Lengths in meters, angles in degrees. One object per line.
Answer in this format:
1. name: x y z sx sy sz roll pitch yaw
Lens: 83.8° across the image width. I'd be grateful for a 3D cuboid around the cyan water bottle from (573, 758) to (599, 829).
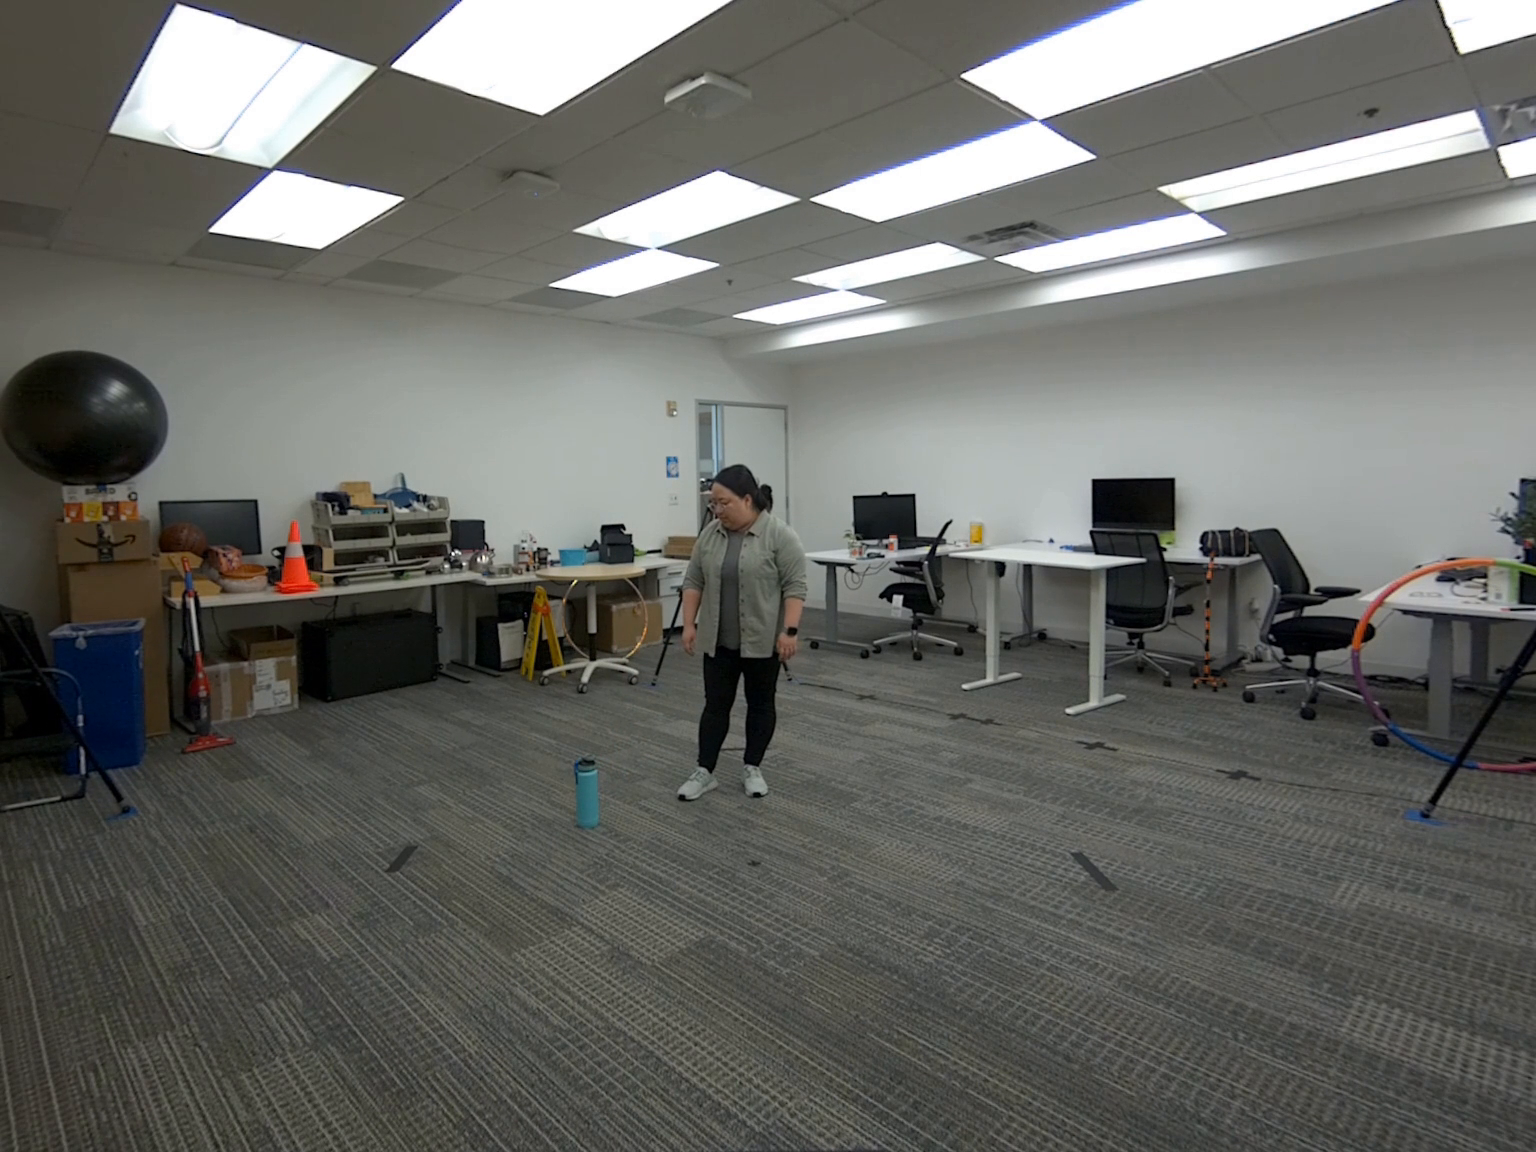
1. cyan water bottle: -0.741 0.876 3.489 0.092 0.282 0.093 -2 3 -2
